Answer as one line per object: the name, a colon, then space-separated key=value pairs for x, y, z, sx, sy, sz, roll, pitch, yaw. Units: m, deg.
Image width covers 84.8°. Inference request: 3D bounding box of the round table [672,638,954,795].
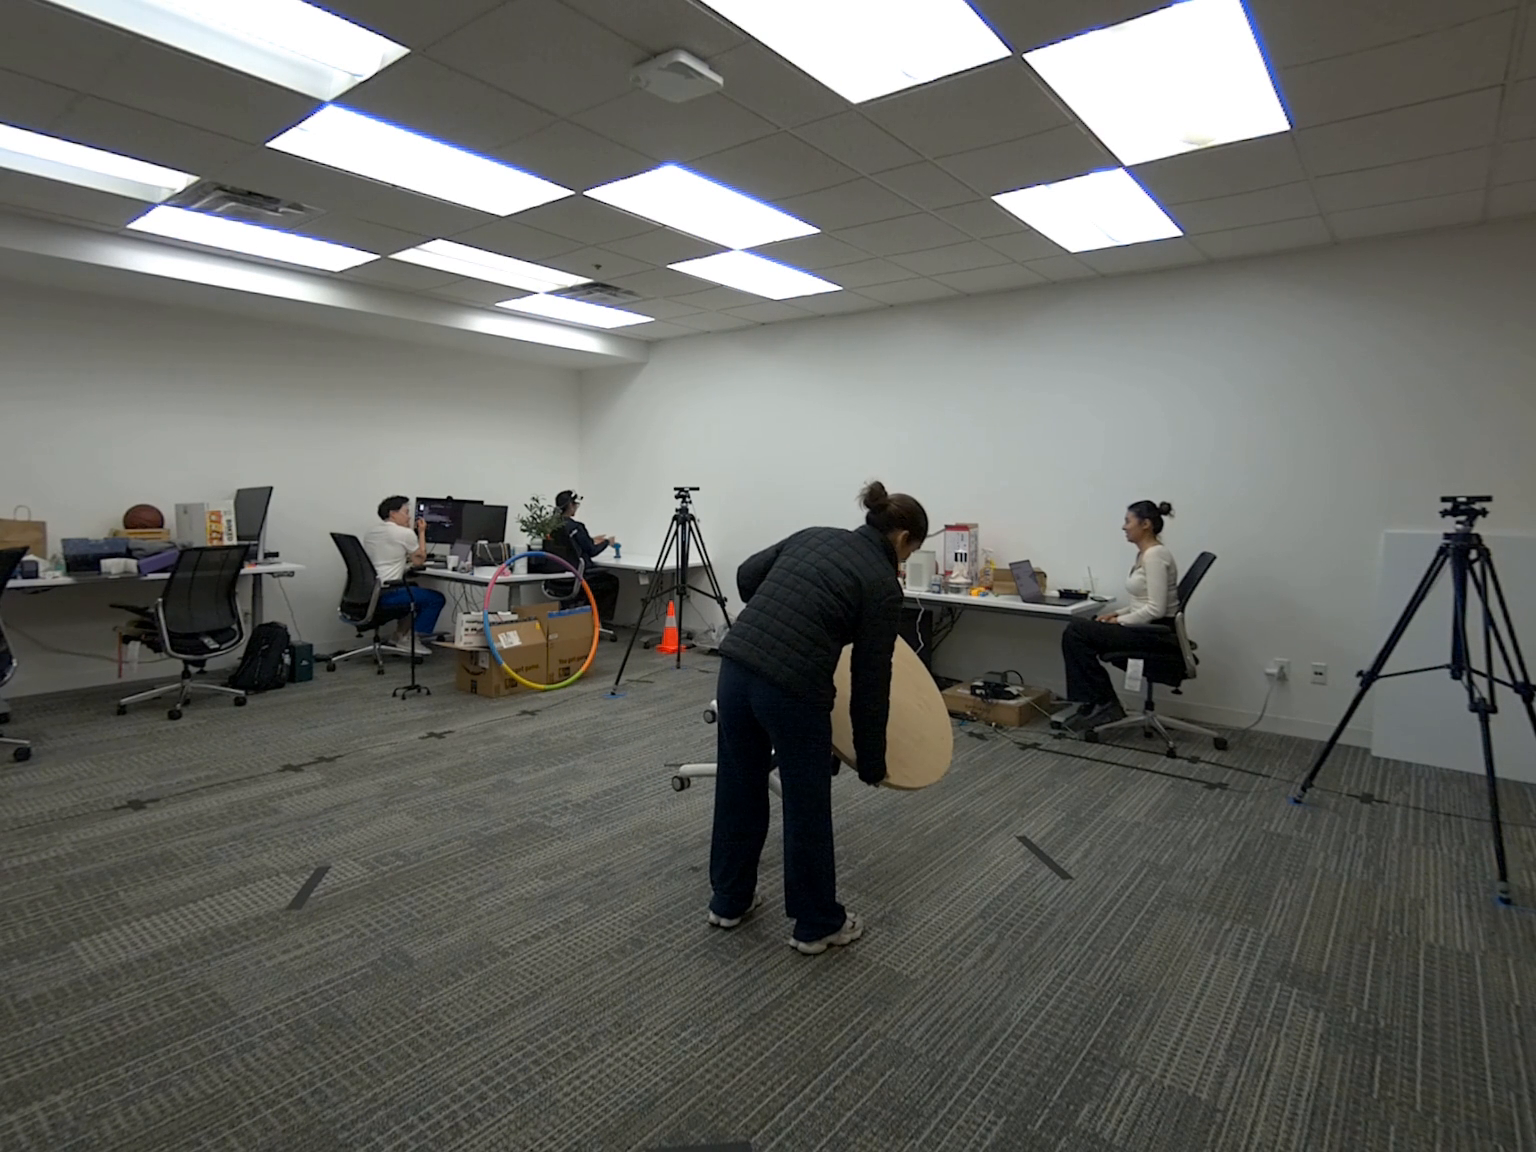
round table: x=0.141 y=0.604 z=3.205 sx=0.761 sy=0.809 sz=0.786 roll=-4 pitch=-35 yaw=-47
